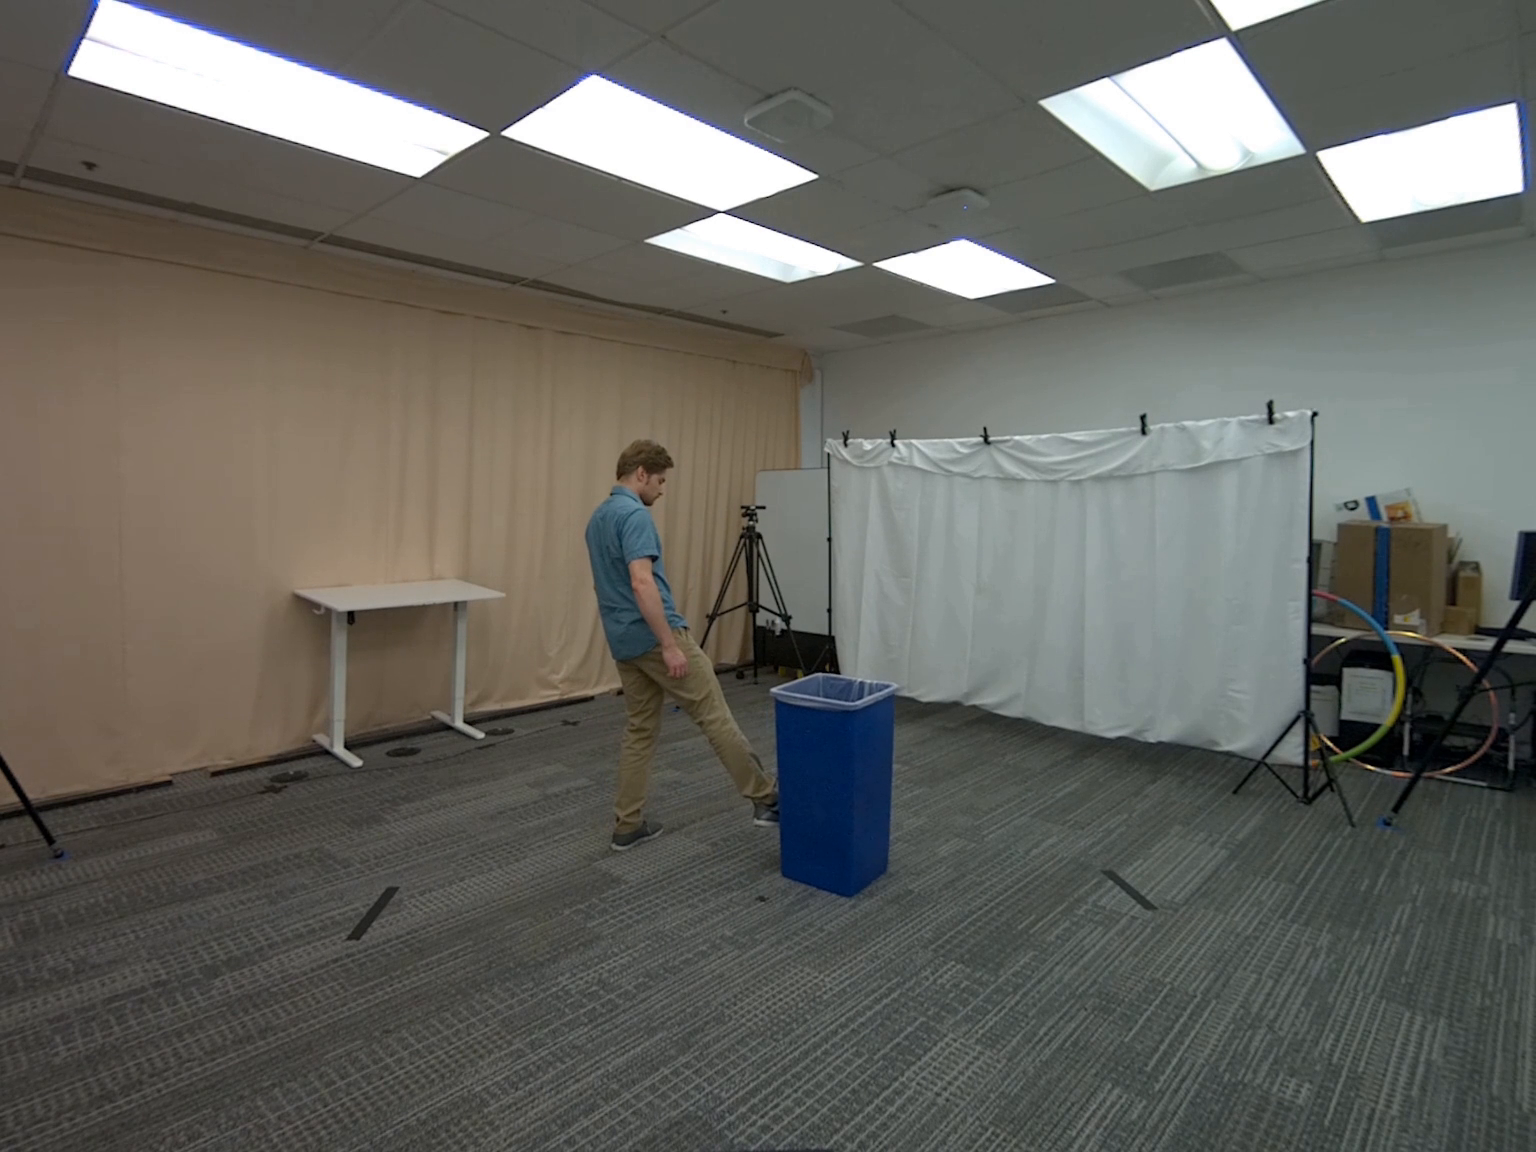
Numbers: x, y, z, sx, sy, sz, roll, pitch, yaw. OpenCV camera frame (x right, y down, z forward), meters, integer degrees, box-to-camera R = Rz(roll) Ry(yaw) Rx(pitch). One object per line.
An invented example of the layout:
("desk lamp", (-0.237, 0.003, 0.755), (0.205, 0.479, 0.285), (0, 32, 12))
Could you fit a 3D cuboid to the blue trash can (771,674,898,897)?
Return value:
("blue trash can", (0.252, 0.768, 3.162), (0.390, 0.712, 0.363), (2, 4, 36))
